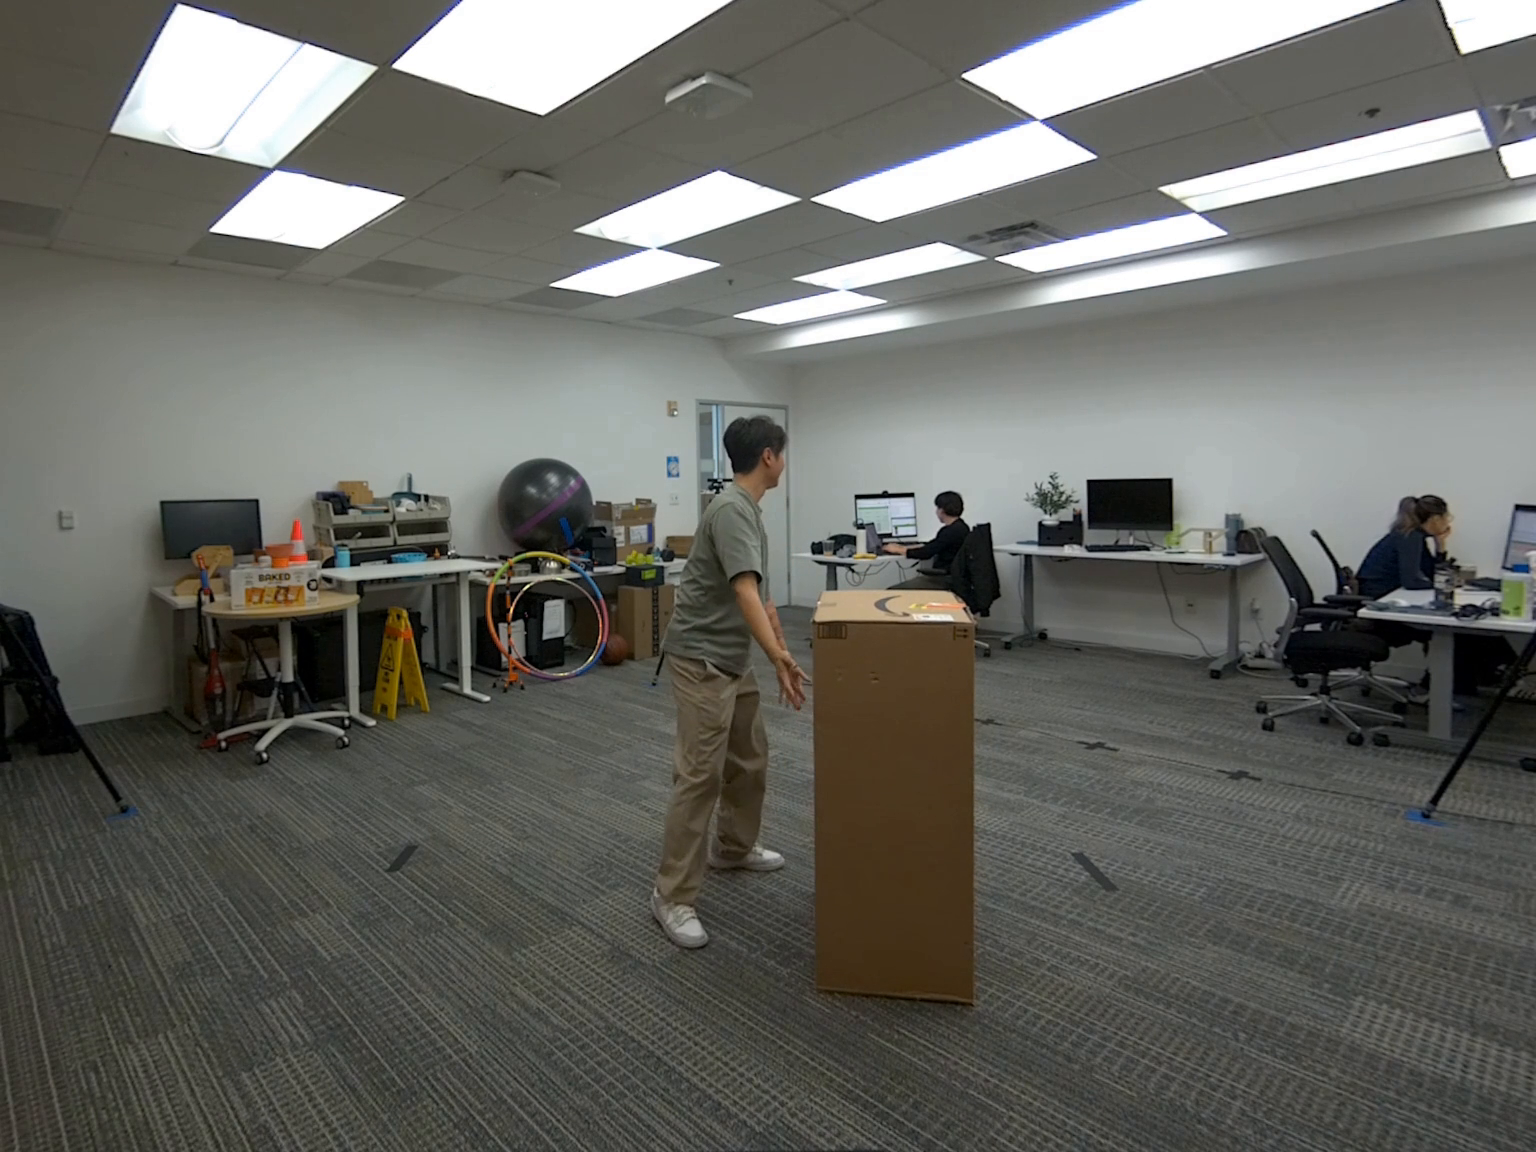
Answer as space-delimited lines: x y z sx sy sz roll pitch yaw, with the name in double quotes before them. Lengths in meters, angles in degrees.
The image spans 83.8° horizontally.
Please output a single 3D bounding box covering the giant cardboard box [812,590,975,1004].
"giant cardboard box" 0.368 0.595 2.532 0.430 1.022 0.574 -1 4 8
